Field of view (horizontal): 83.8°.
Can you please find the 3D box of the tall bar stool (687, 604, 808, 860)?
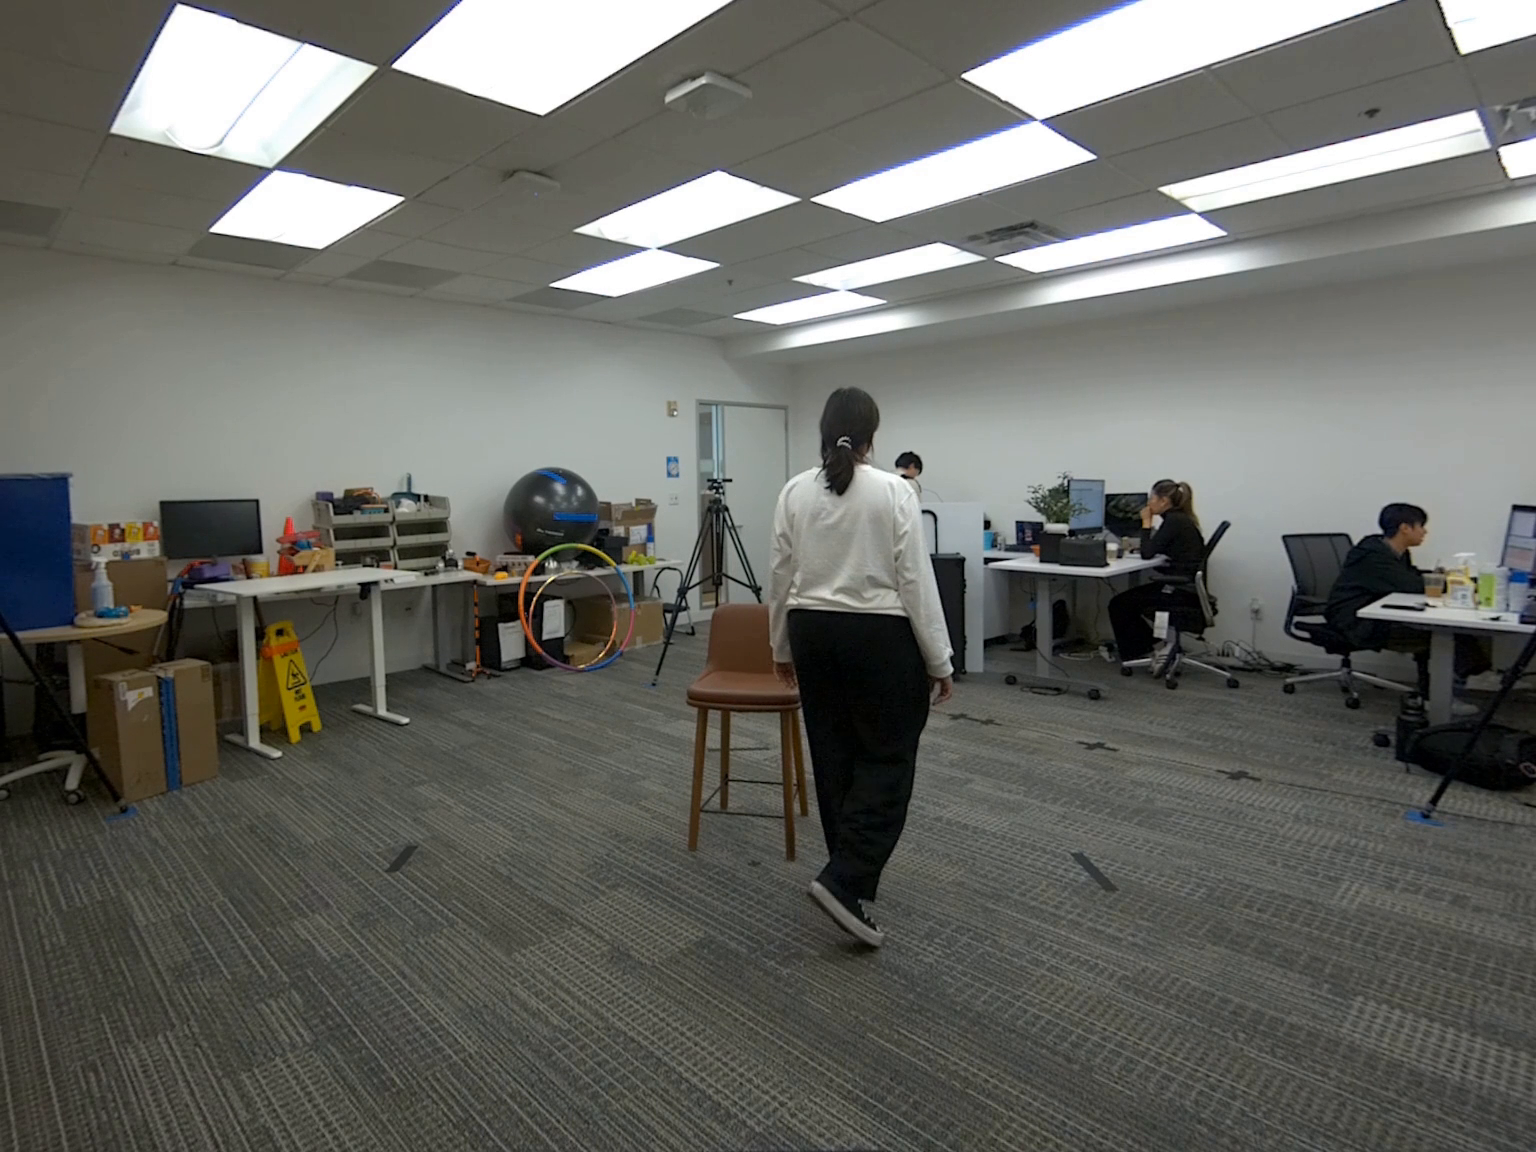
[{"bbox_3d":[-0.064,0.581,3.372,0.463,0.888,0.462,0,2,14],"label":"tall bar stool"}]
